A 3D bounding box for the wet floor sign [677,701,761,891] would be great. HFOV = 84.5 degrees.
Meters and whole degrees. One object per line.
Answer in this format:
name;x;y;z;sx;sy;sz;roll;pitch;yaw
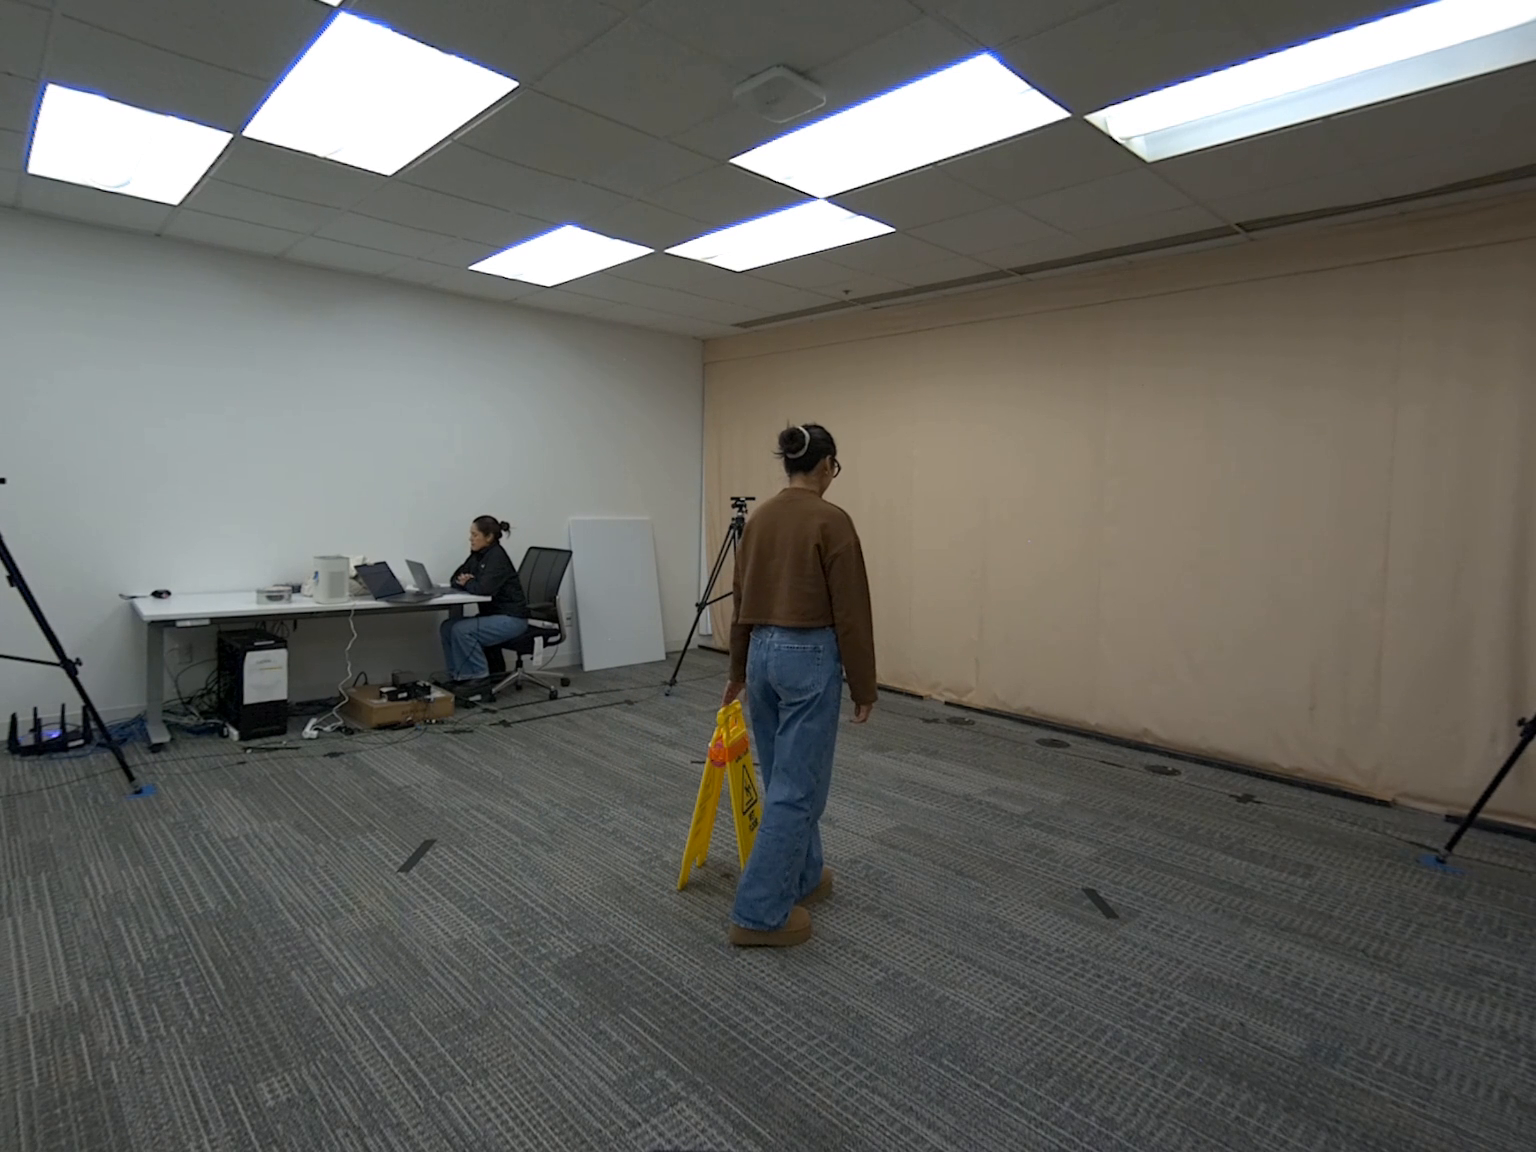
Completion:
wet floor sign;-0.150;0.790;3.045;0.294;0.644;0.279;3;4;16
